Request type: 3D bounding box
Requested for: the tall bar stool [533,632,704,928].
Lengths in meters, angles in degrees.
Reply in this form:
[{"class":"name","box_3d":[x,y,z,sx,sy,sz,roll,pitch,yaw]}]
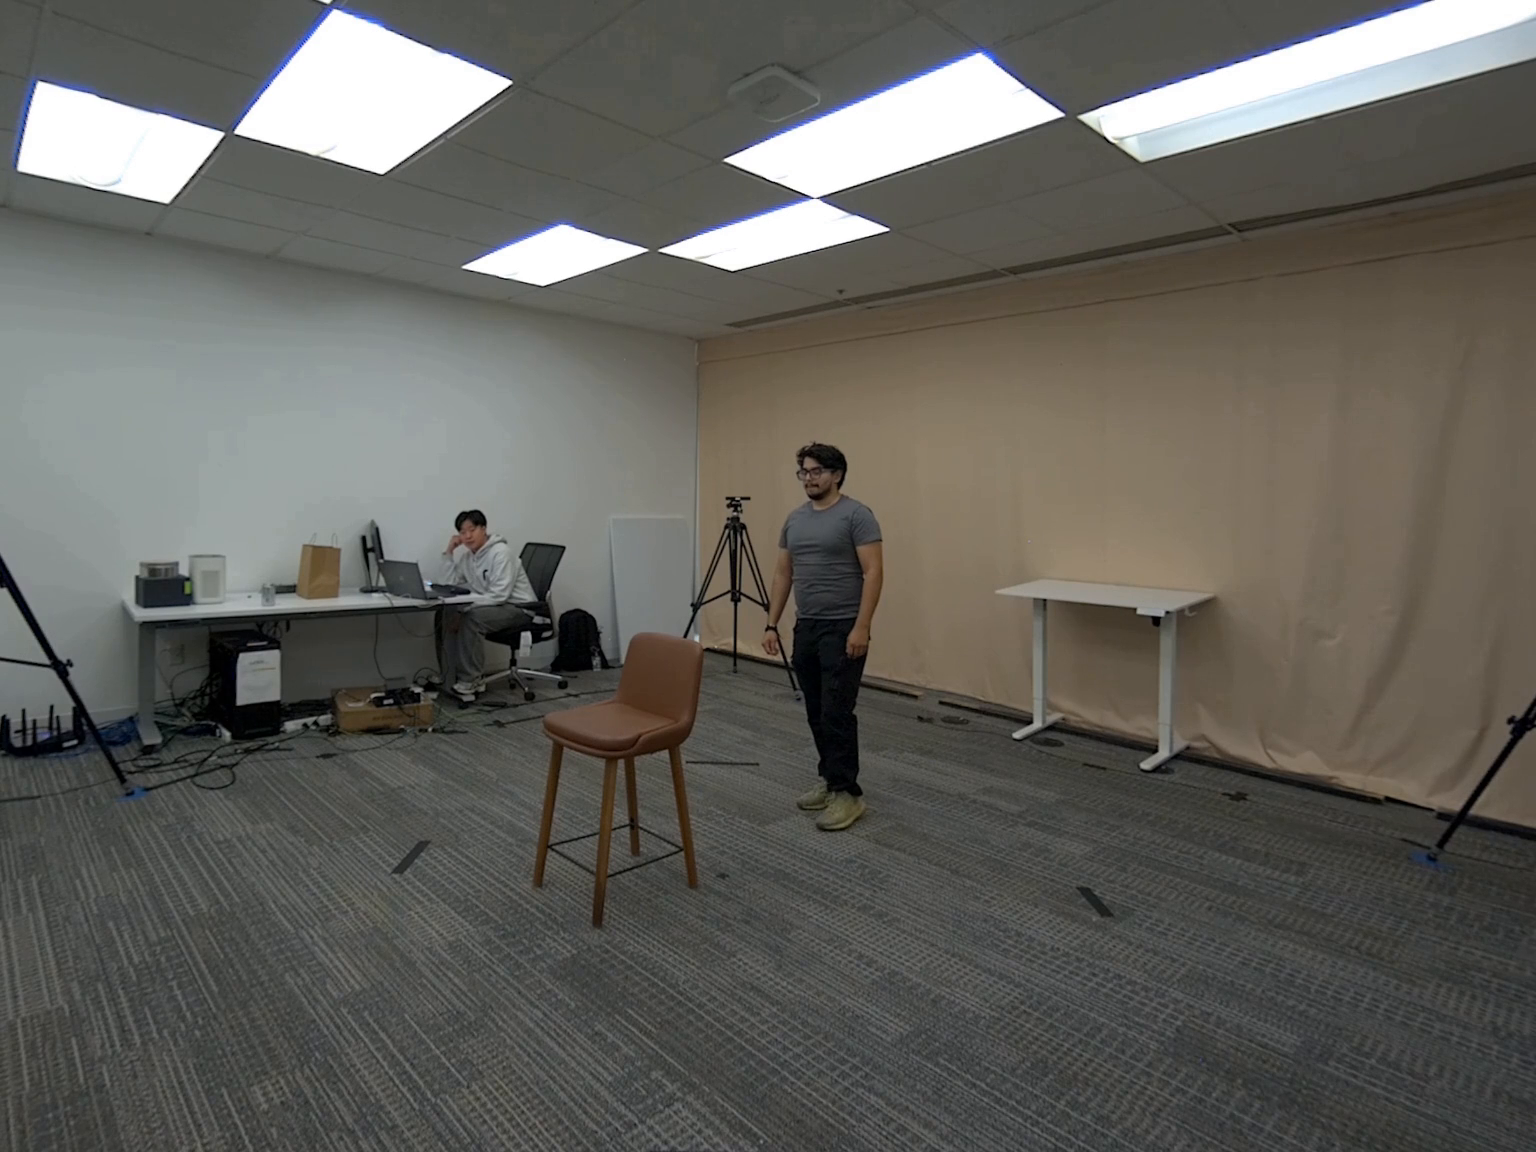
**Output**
[{"class":"tall bar stool","box_3d":[-0.528,0.675,2.979,0.456,0.888,0.468,0,3,-44]}]
